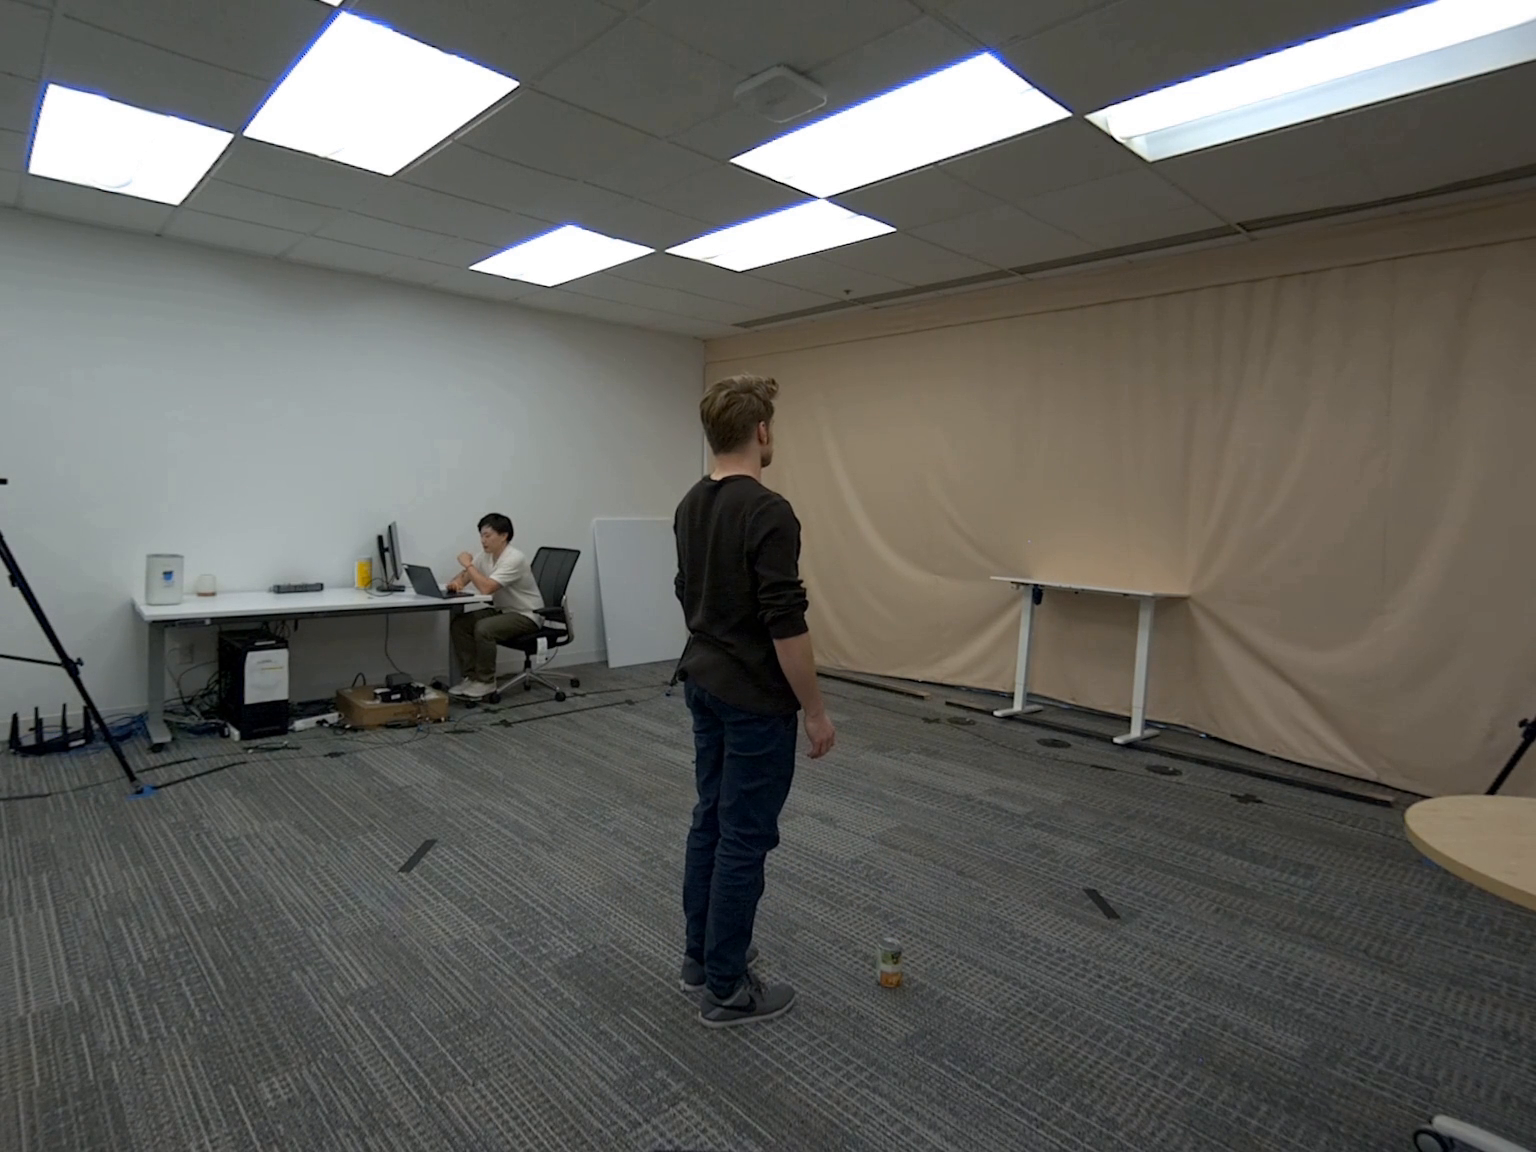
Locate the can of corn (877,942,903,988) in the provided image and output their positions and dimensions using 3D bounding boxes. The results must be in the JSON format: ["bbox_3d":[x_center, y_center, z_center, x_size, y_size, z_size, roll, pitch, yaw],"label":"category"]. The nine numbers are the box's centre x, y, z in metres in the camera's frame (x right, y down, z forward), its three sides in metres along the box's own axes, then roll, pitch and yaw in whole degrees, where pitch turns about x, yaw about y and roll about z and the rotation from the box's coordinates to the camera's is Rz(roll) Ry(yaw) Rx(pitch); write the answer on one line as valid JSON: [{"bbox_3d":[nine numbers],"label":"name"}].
[{"bbox_3d":[0.347,1.128,2.447,0.074,0.110,0.074,3,5,-2],"label":"can of corn"}]
